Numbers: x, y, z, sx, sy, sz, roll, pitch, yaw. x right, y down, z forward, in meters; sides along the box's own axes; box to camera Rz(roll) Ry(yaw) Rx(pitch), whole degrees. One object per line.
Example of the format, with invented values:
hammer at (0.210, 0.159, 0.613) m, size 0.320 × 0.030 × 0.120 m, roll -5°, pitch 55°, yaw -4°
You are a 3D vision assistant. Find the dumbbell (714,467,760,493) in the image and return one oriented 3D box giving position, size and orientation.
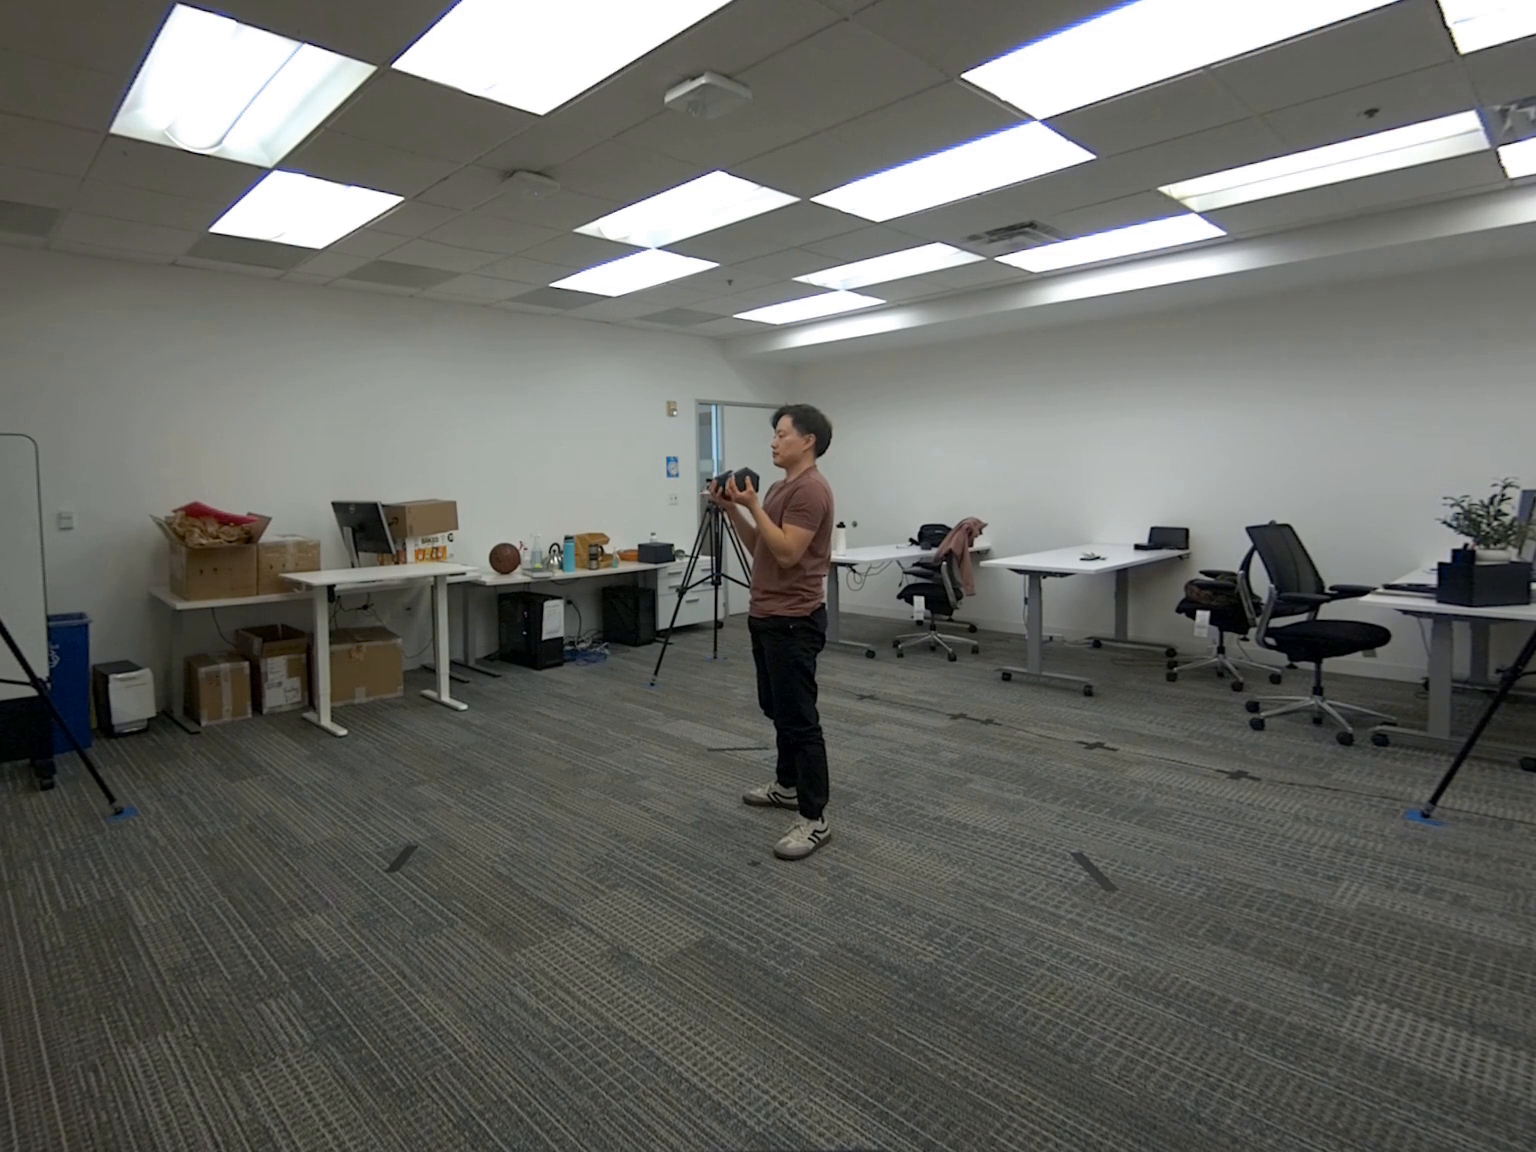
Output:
dumbbell at (-0.098, -0.364, 3.340) m, size 0.122 × 0.109 × 0.296 m, roll 30°, pitch 0°, yaw -9°
